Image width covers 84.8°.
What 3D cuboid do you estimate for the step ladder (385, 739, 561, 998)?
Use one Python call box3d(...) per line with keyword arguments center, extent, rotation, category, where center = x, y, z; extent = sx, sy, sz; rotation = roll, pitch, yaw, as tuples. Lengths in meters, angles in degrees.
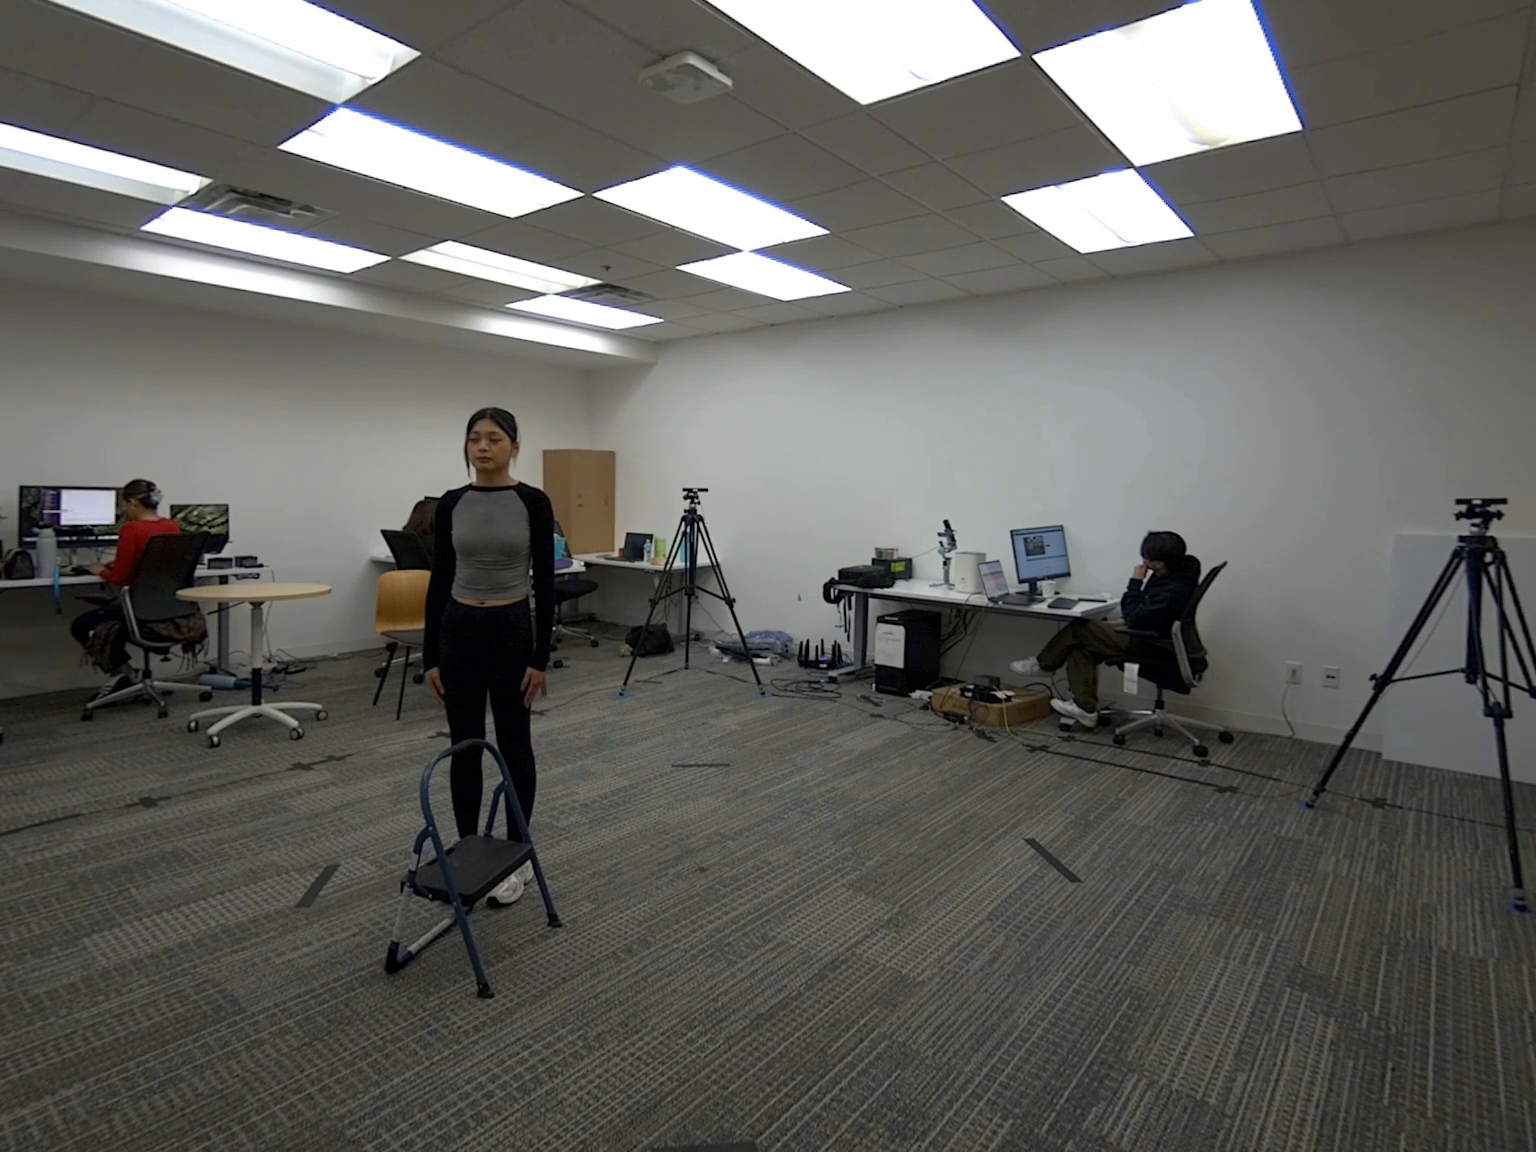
box3d(center=(-0.876, 0.815, 2.539), extent=(0.355, 0.605, 0.424), rotation=(2, 3, 16), category="step ladder")
